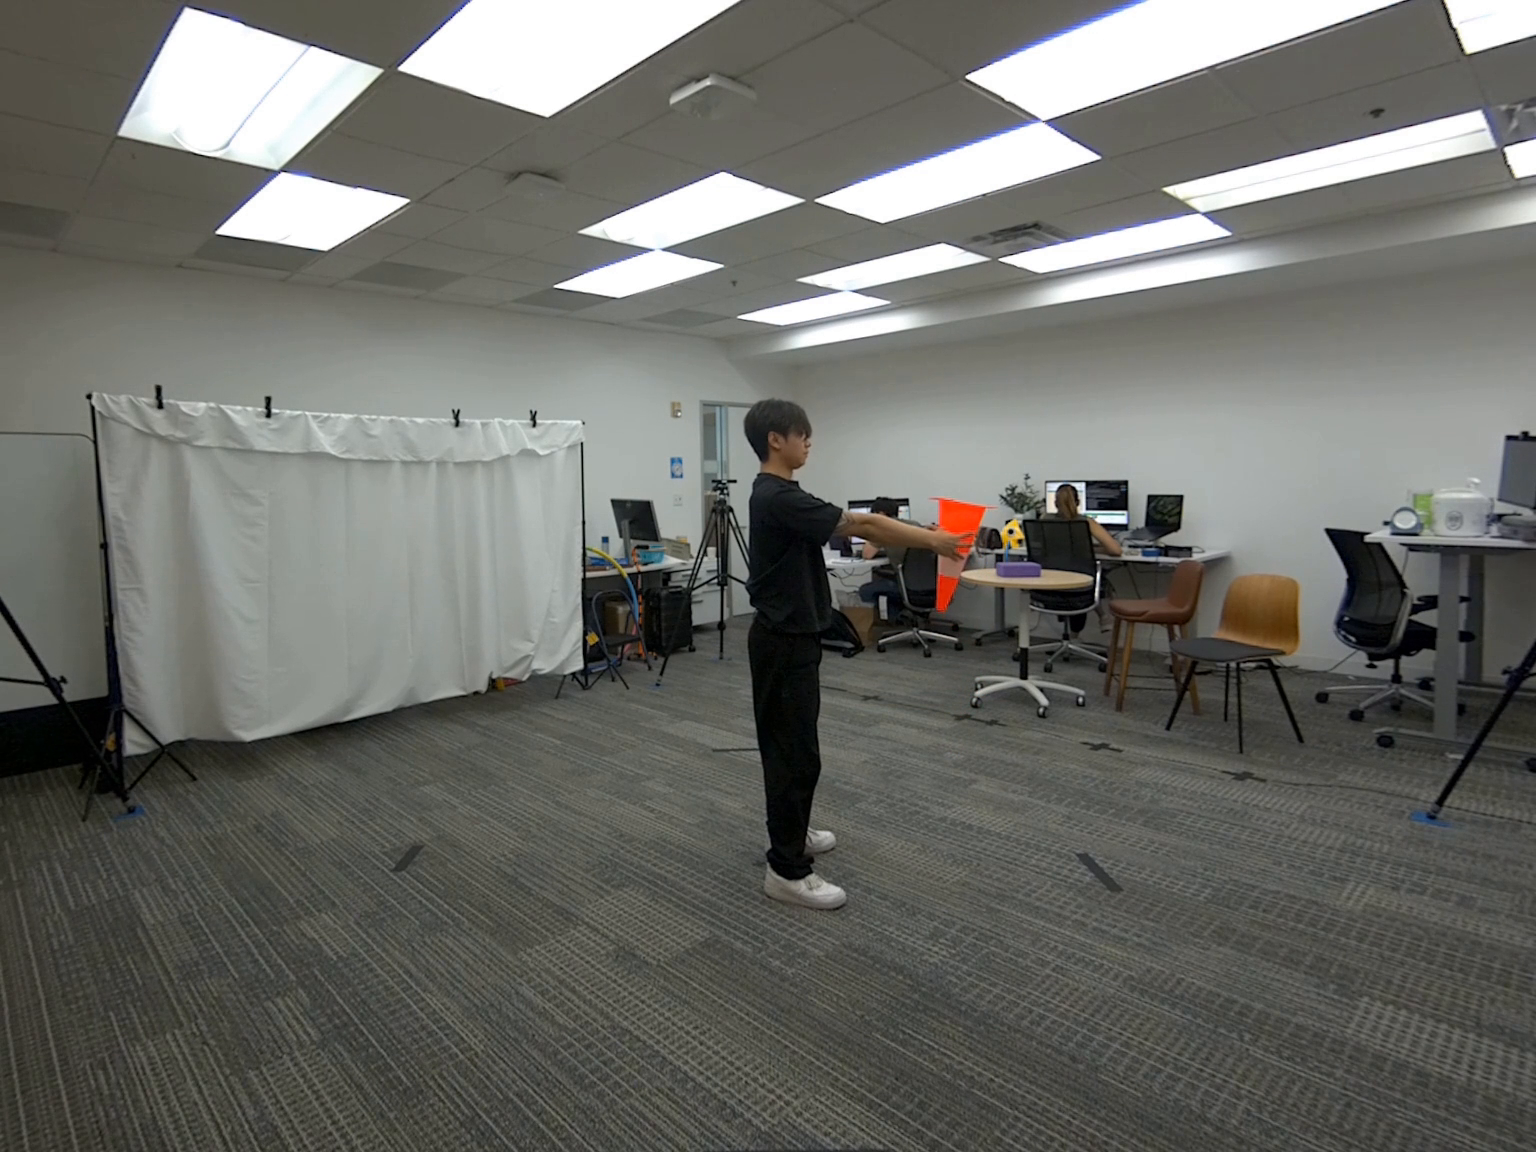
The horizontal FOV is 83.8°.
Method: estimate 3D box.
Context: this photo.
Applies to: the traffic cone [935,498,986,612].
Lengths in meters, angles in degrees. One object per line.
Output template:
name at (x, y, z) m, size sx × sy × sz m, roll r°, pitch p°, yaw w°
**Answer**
traffic cone at (0.636, -0.061, 2.920) m, size 0.204 × 0.383 × 0.205 m, roll 9°, pitch 2°, yaw 0°
